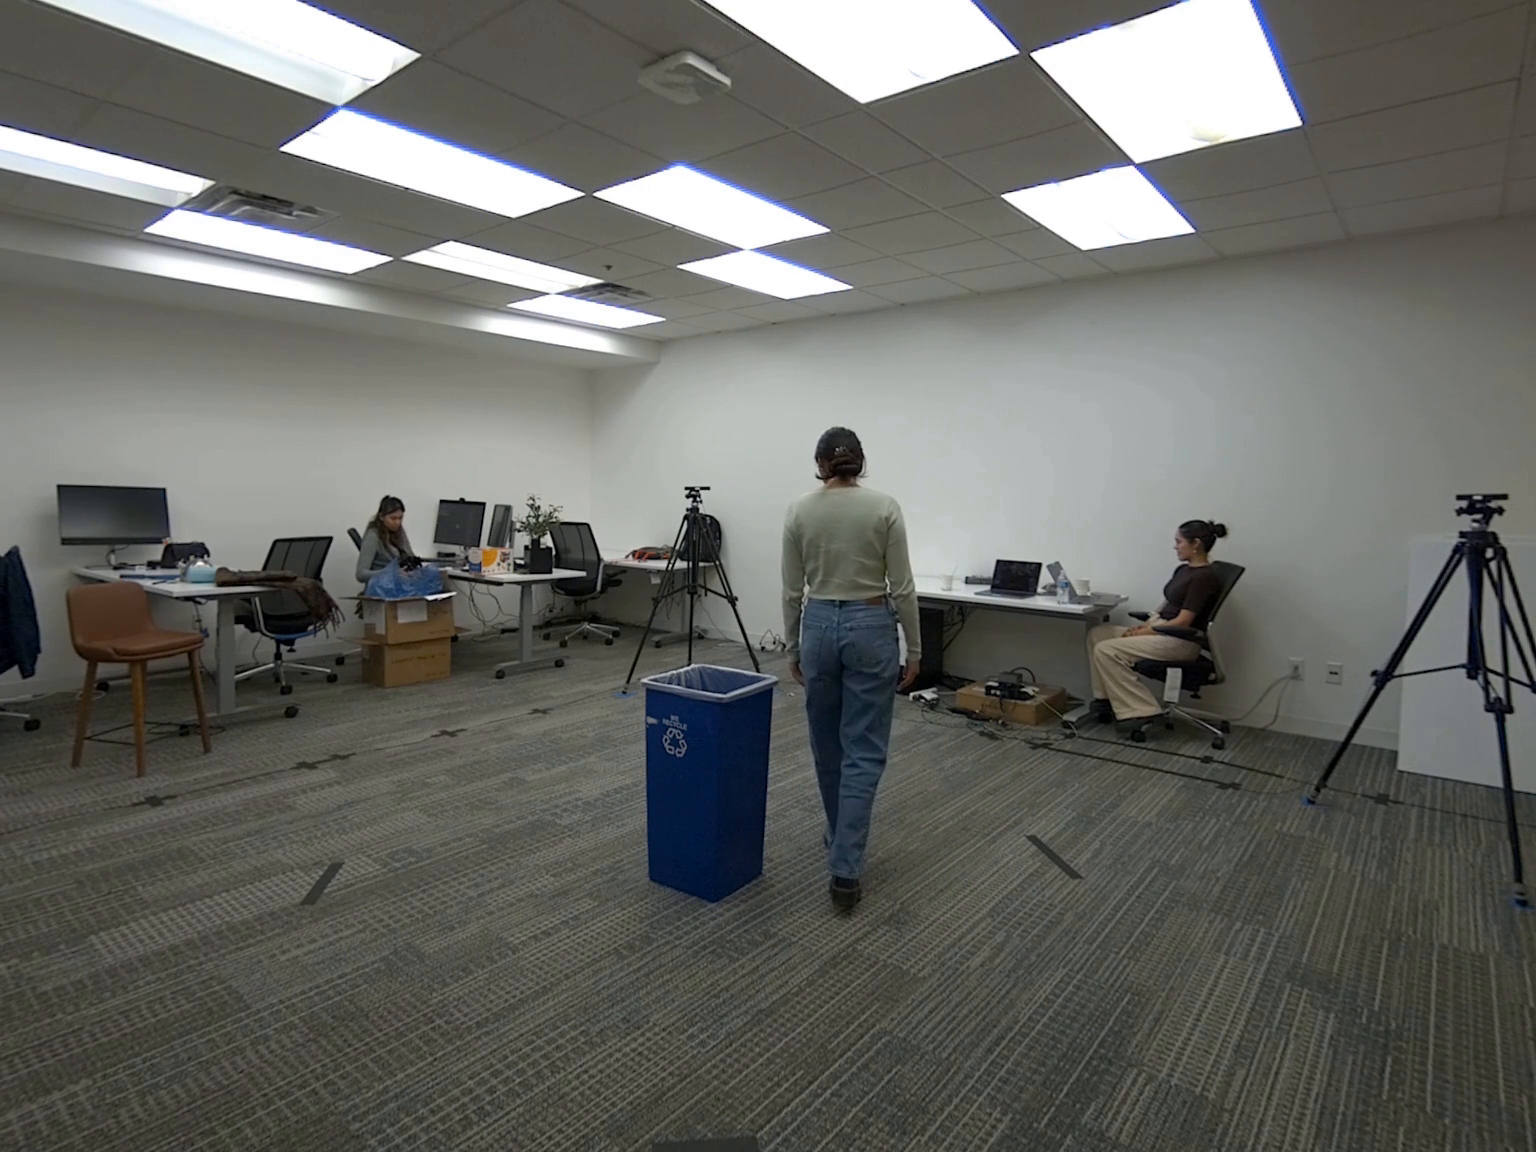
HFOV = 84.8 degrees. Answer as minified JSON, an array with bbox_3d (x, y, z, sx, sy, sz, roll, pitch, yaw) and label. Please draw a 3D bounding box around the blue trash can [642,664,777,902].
[{"bbox_3d":[-0.216,0.713,3.029,0.386,0.712,0.367,3,4,34],"label":"blue trash can"}]
